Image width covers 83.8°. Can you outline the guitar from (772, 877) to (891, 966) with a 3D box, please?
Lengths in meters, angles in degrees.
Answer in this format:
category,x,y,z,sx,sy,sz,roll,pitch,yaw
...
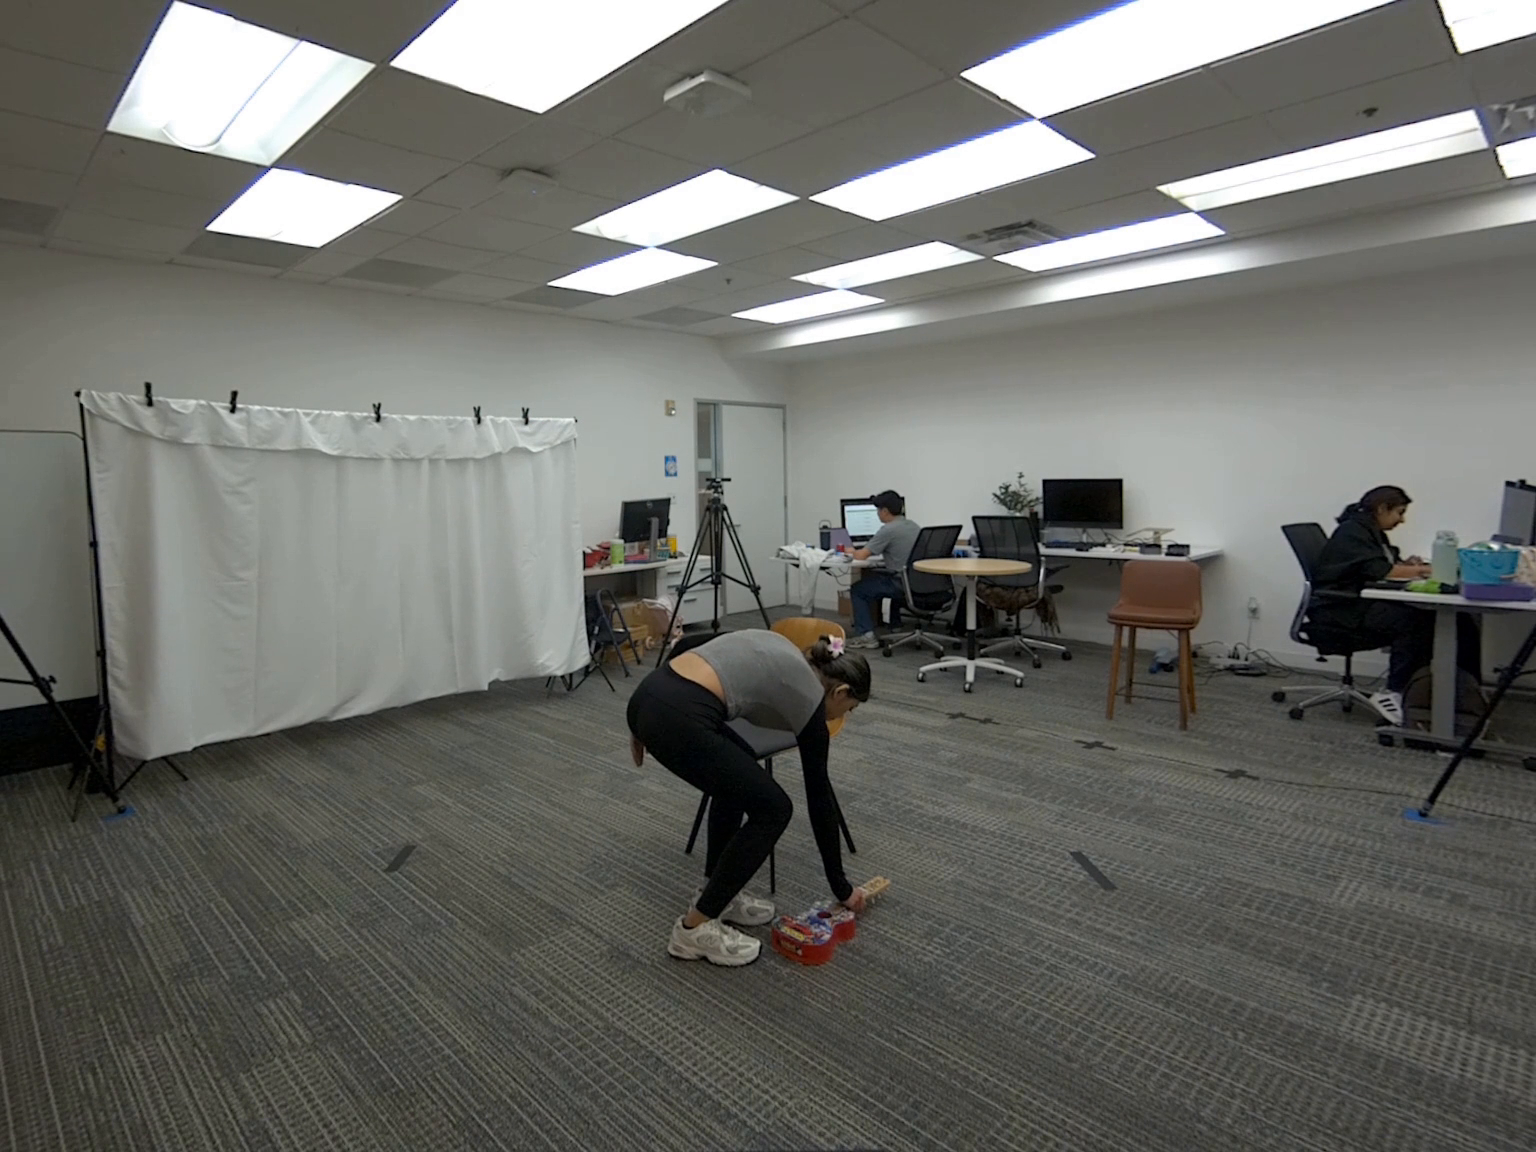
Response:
category,x,y,z,sx,sy,sz,roll,pitch,yaw
guitar,0.242,1.057,2.640,0.485,0.070,0.199,-6,9,-37
